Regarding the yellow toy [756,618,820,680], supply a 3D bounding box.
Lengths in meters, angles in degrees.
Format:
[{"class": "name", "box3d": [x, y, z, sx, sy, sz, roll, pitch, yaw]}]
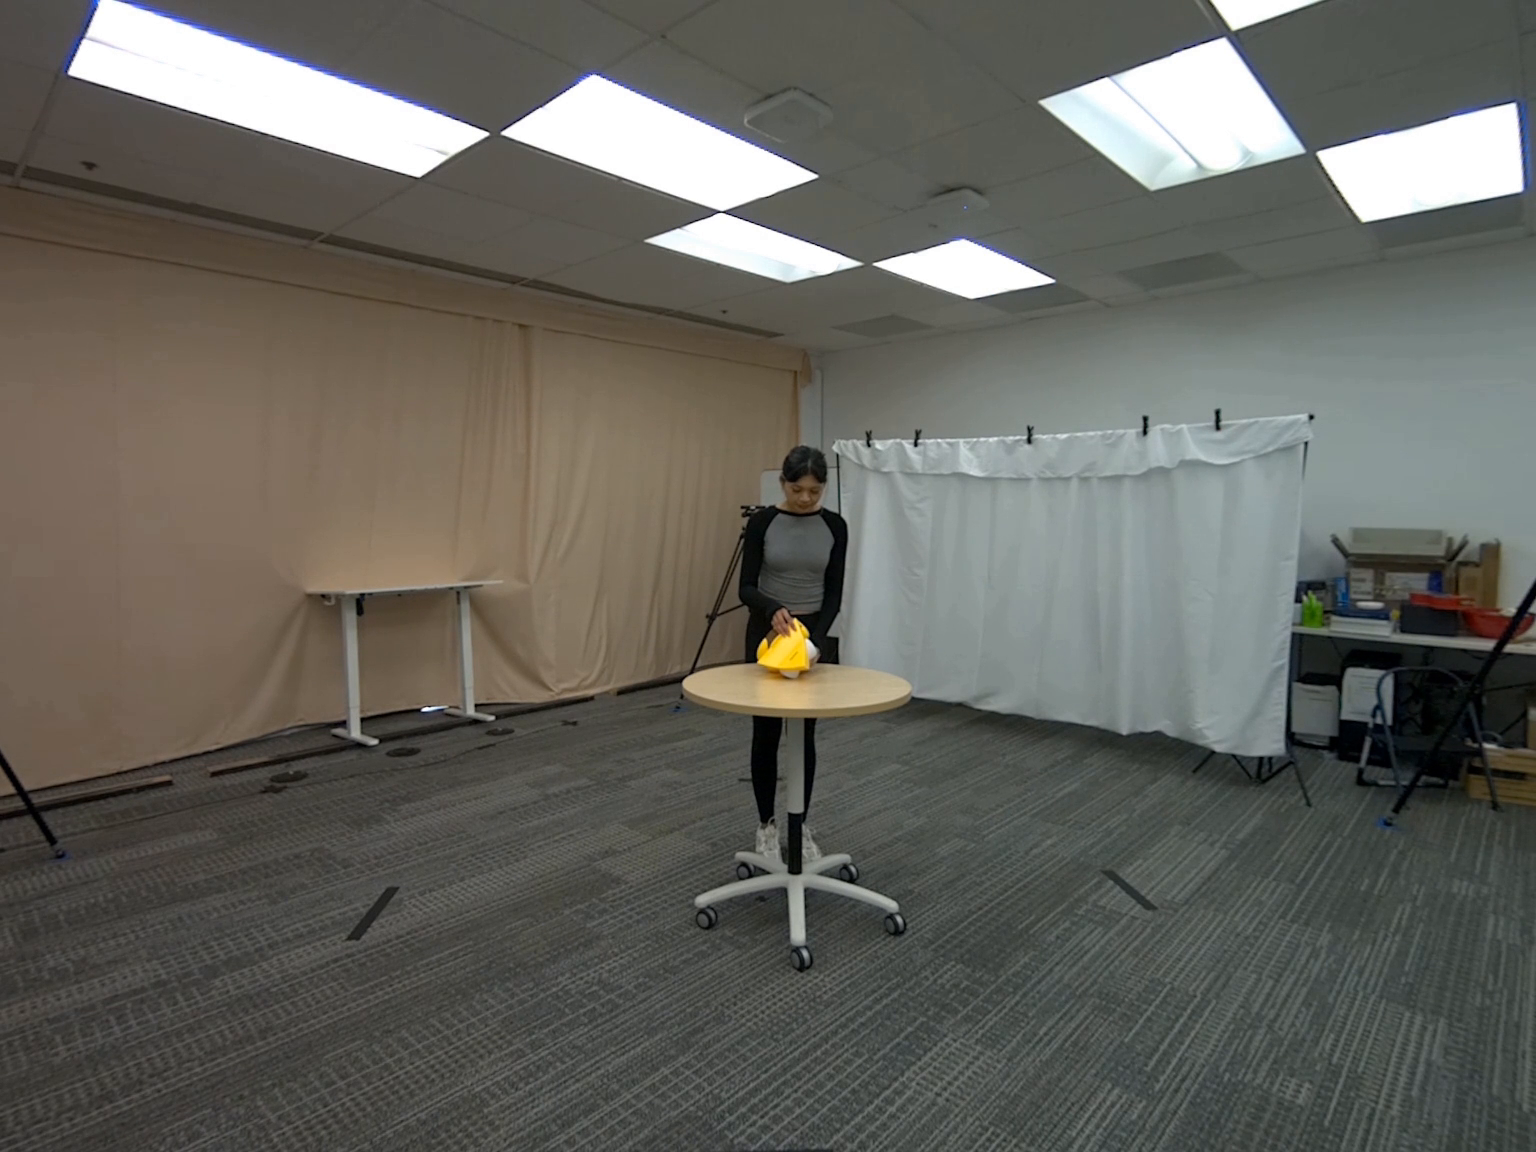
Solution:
[{"class": "yellow toy", "box3d": [0.098, 0.286, 2.946, 0.186, 0.205, 0.239, 40, 0, -37]}]
